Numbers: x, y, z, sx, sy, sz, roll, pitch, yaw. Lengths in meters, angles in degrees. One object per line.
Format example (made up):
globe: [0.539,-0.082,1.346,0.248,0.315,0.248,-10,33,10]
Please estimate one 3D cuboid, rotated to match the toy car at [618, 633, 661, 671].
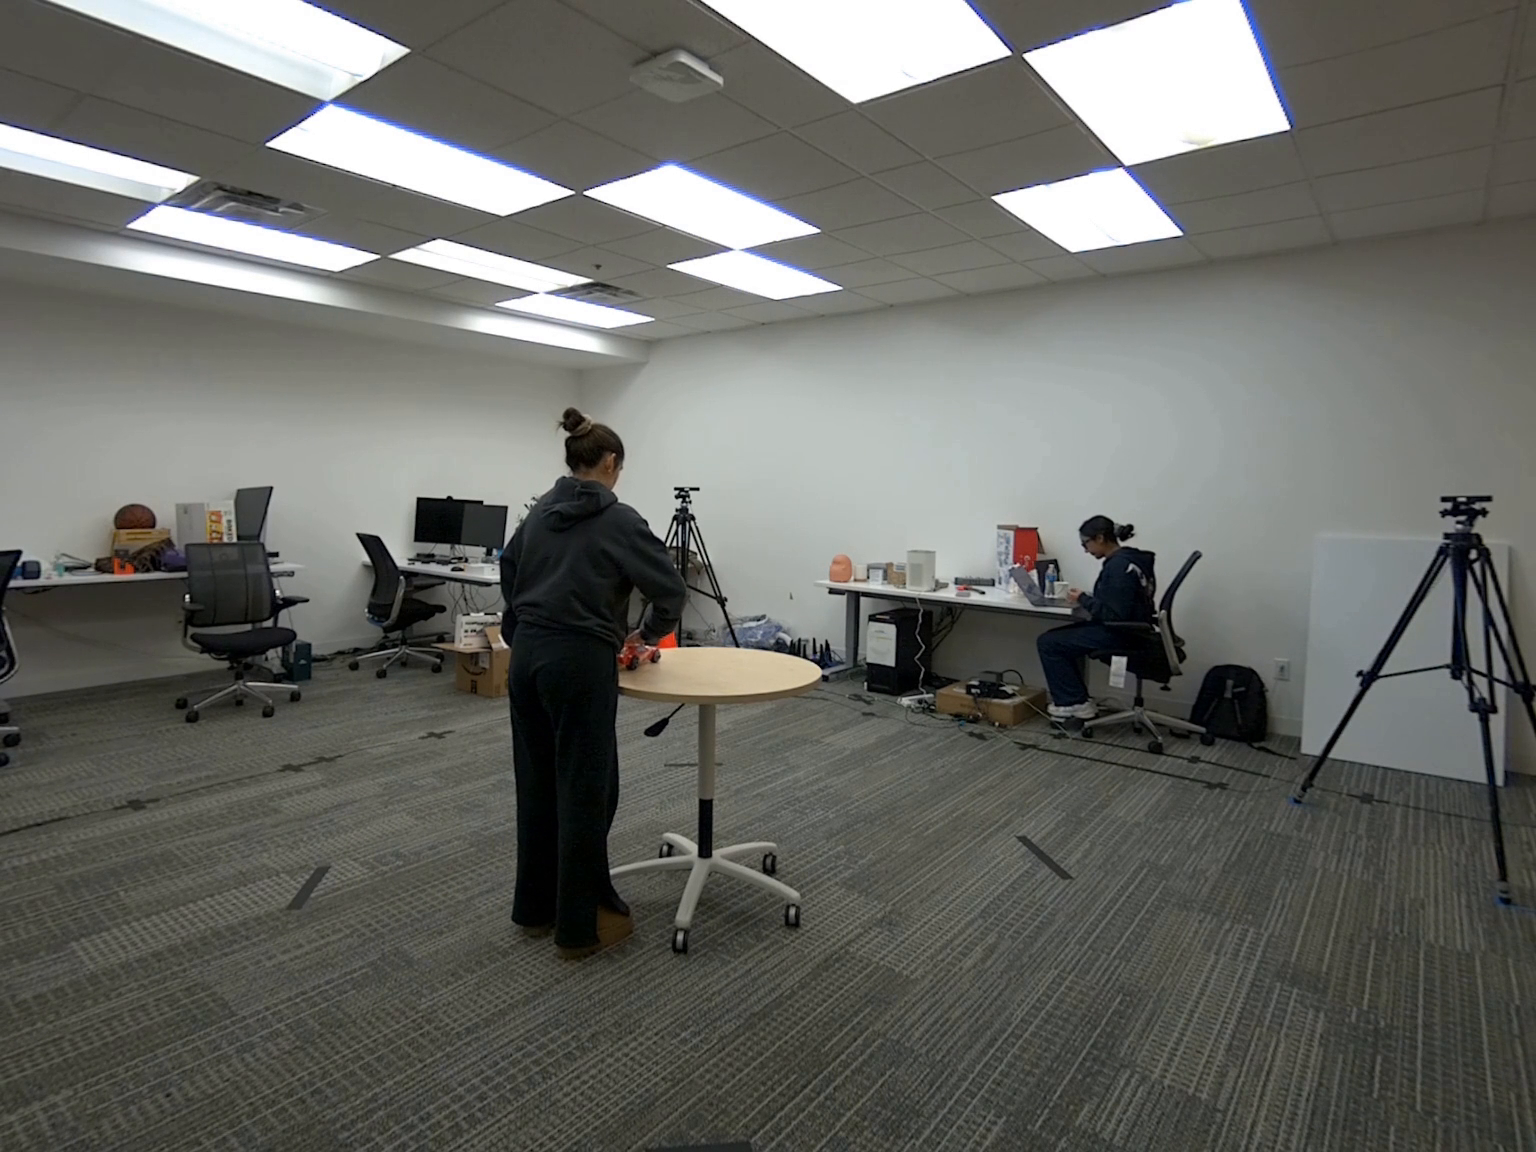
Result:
toy car: [-0.476,0.272,2.892,0.134,0.083,0.247,3,-5,25]
